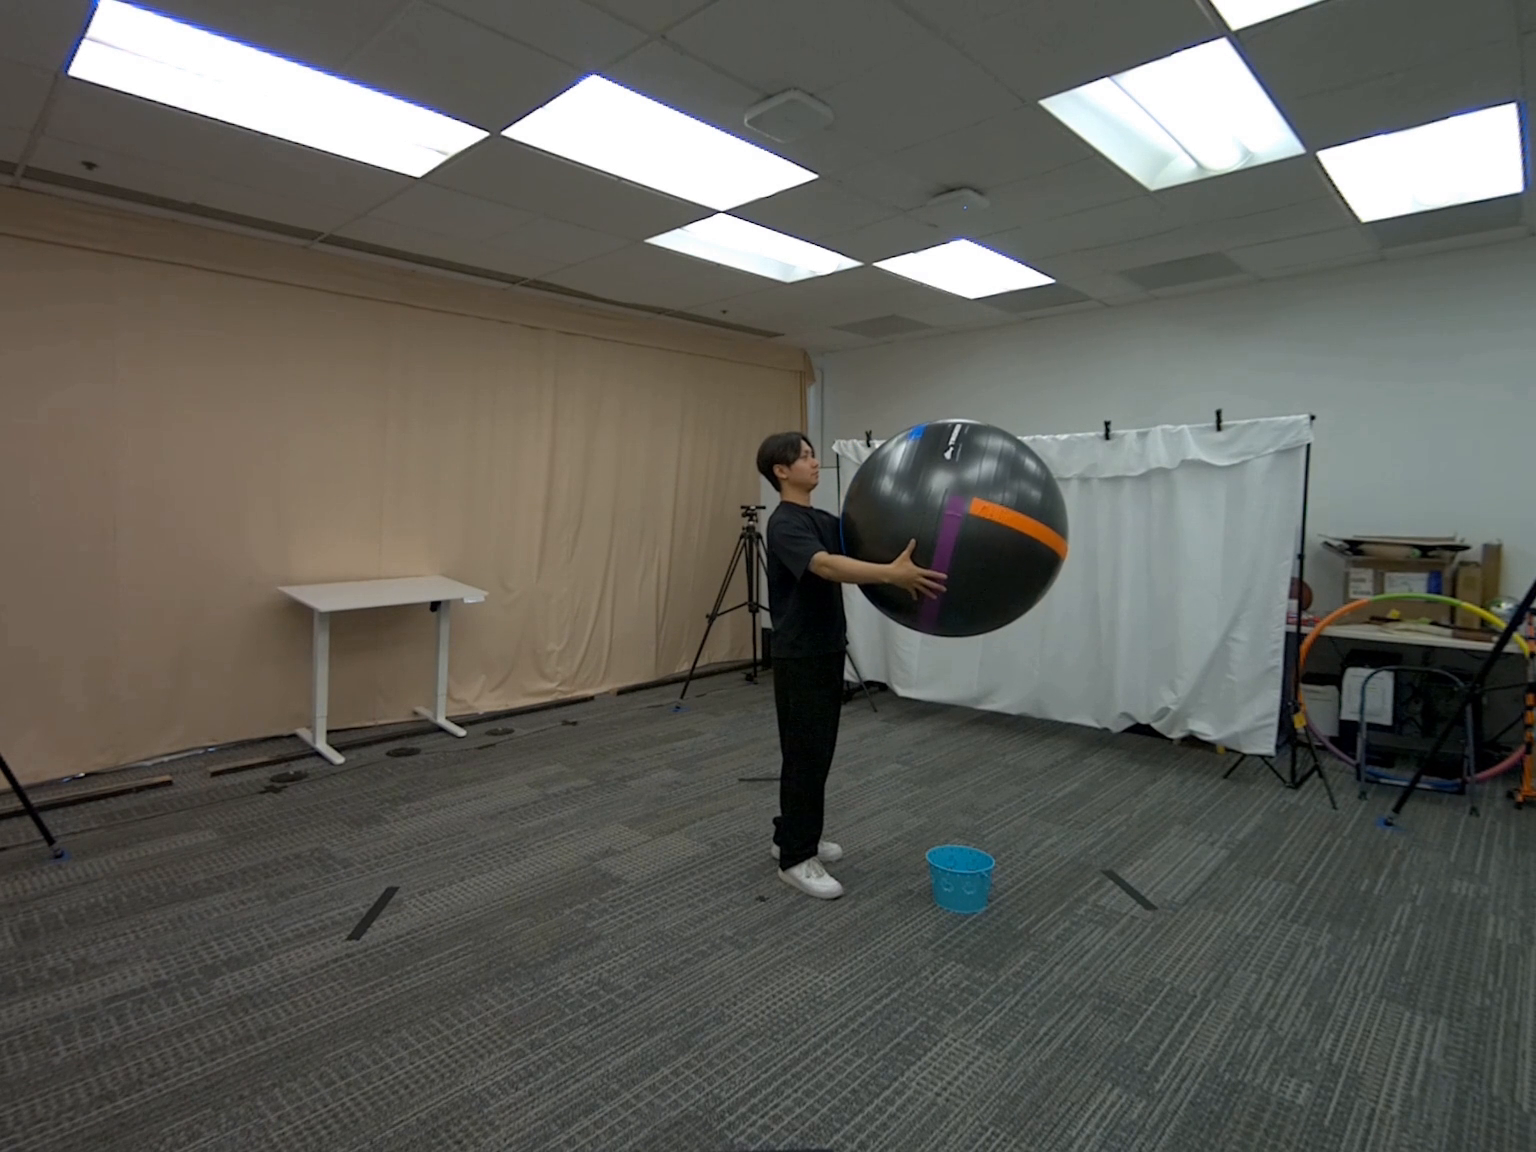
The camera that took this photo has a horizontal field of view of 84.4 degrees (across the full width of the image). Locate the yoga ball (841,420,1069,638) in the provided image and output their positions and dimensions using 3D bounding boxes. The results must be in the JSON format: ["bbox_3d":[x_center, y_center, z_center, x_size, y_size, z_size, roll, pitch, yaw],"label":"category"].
[{"bbox_3d":[0.649,-0.160,2.938,0.757,0.756,0.760,0,4,-2],"label":"yoga ball"}]
